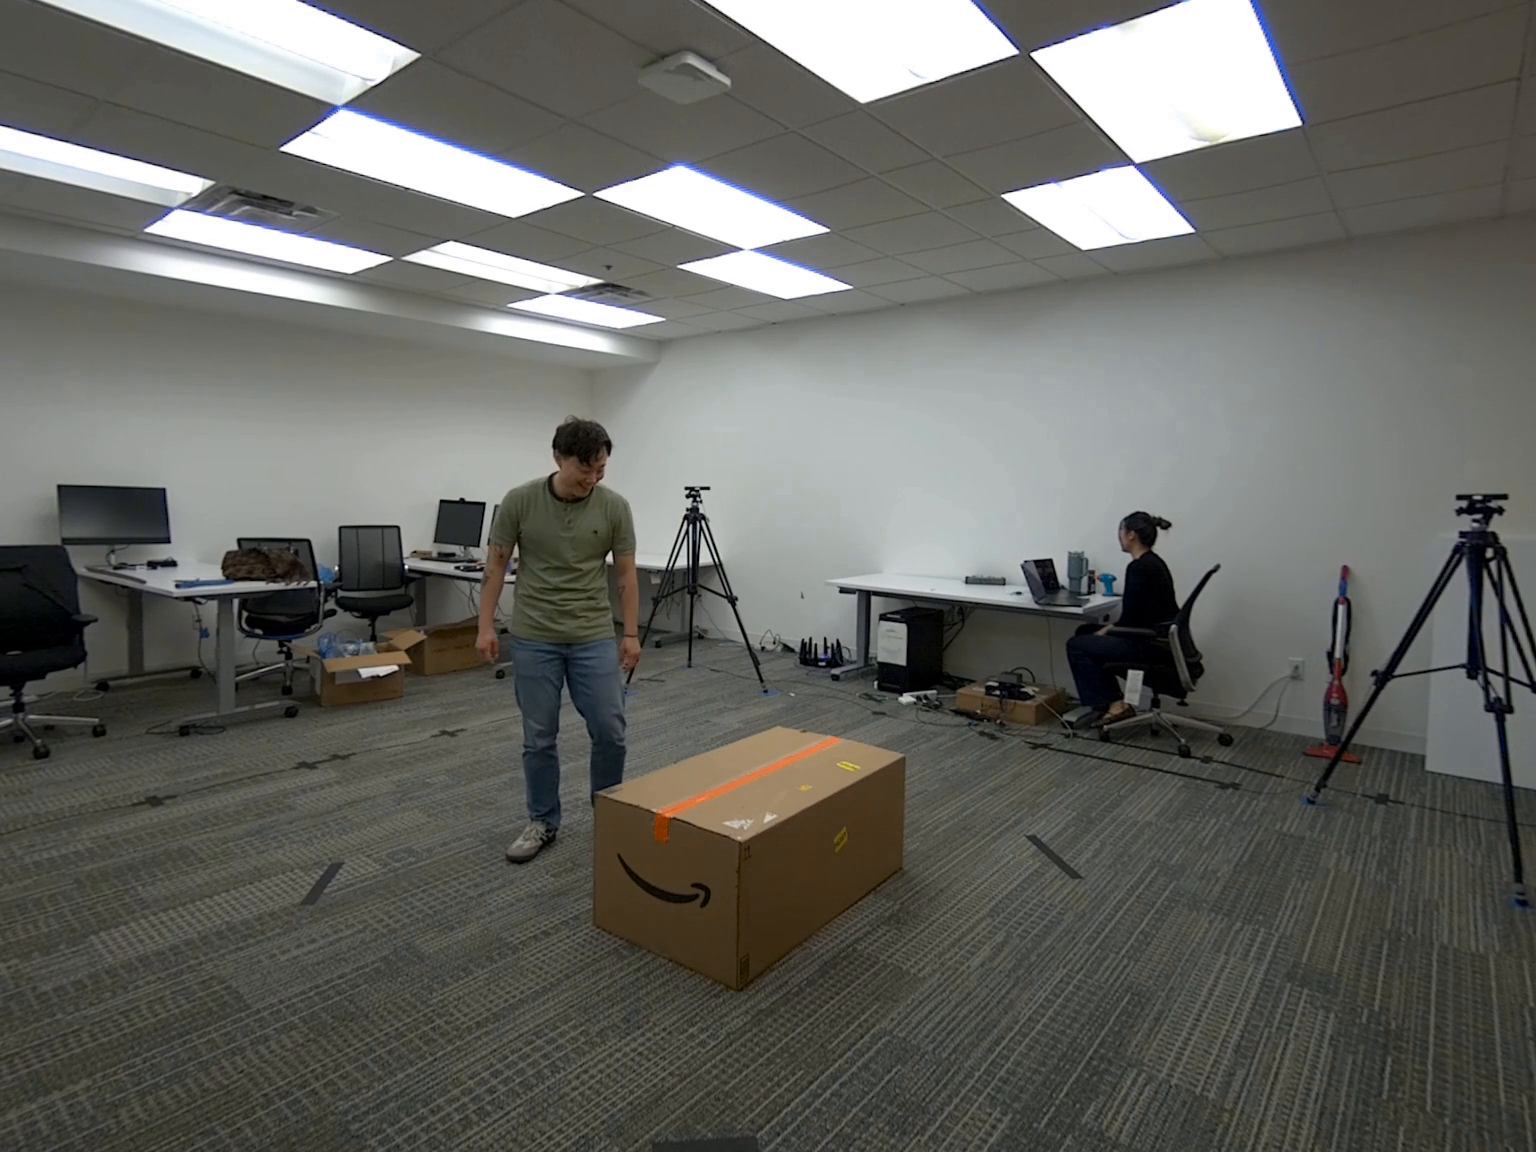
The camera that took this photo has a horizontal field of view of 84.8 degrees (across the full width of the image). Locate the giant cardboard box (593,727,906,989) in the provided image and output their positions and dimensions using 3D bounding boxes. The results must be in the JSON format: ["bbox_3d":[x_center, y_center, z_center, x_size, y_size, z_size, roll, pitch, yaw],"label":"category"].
[{"bbox_3d":[-0.032,0.874,2.901,0.597,0.424,0.997,5,7,36],"label":"giant cardboard box"}]
